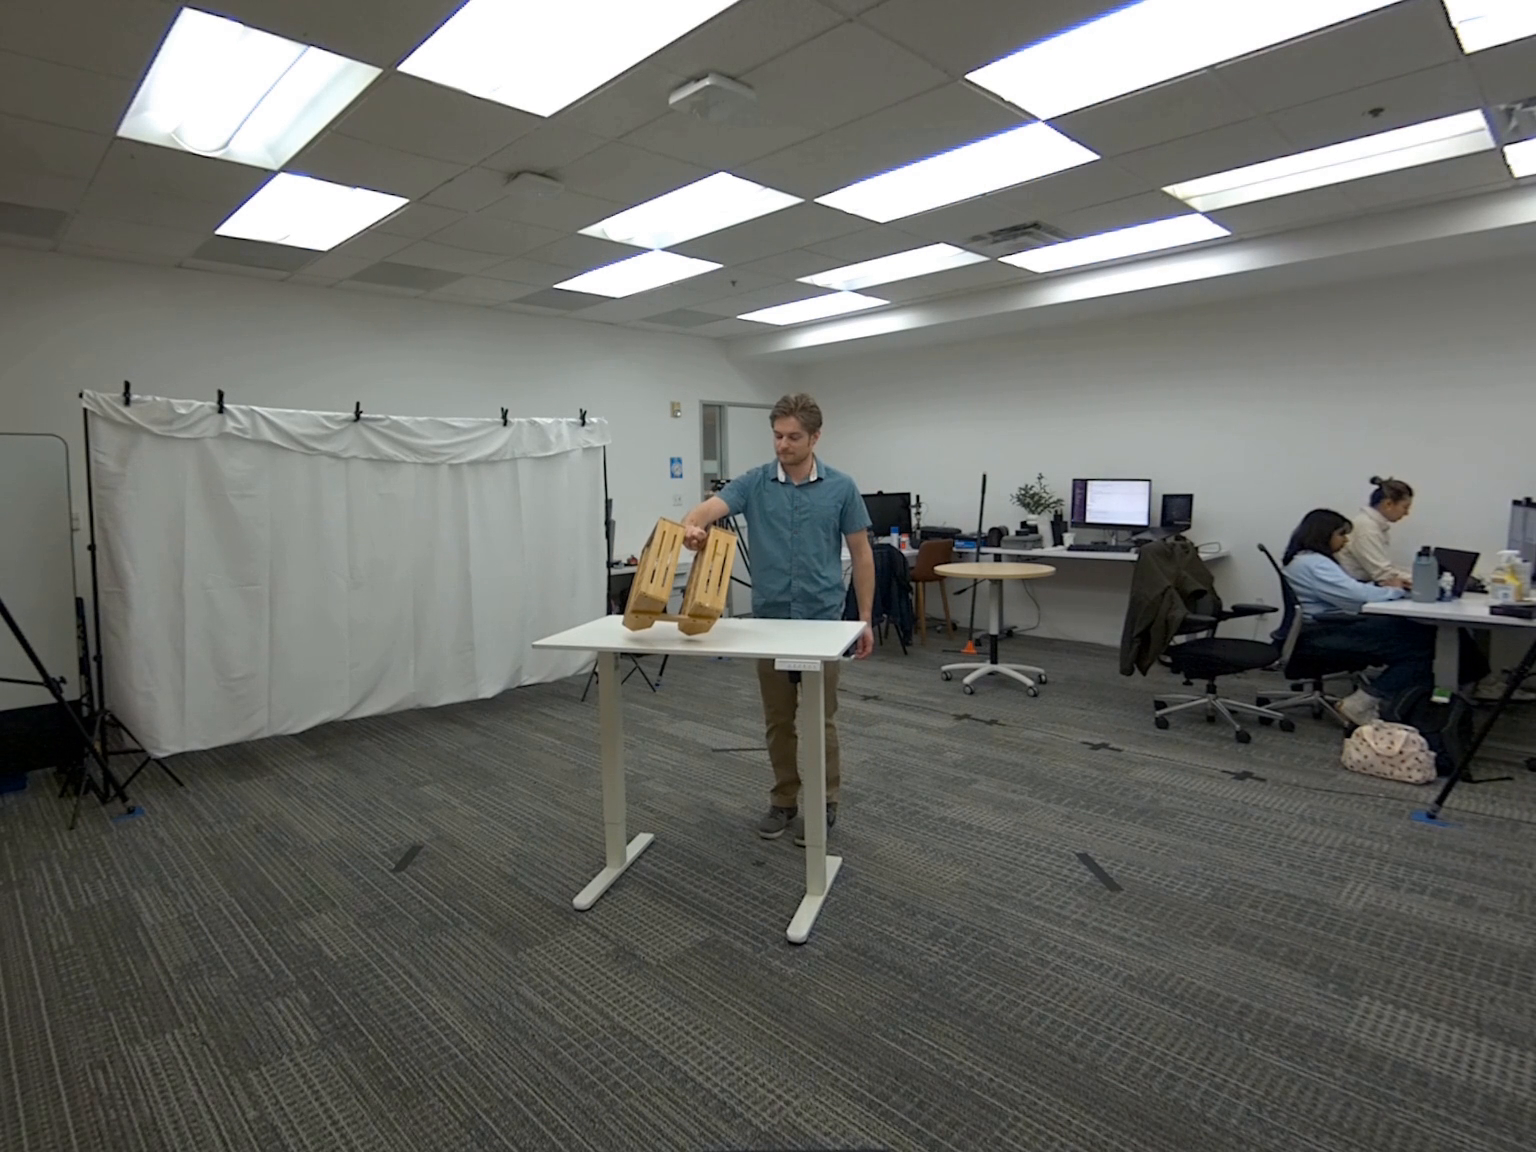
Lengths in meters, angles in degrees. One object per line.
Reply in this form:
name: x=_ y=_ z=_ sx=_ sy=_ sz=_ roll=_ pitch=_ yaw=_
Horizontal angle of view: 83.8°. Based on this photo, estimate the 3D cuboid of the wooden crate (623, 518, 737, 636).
wooden crate: x=-0.286 y=0.019 z=2.818 sx=0.270 sy=0.331 sz=0.300 roll=18 pitch=-35 yaw=-12
